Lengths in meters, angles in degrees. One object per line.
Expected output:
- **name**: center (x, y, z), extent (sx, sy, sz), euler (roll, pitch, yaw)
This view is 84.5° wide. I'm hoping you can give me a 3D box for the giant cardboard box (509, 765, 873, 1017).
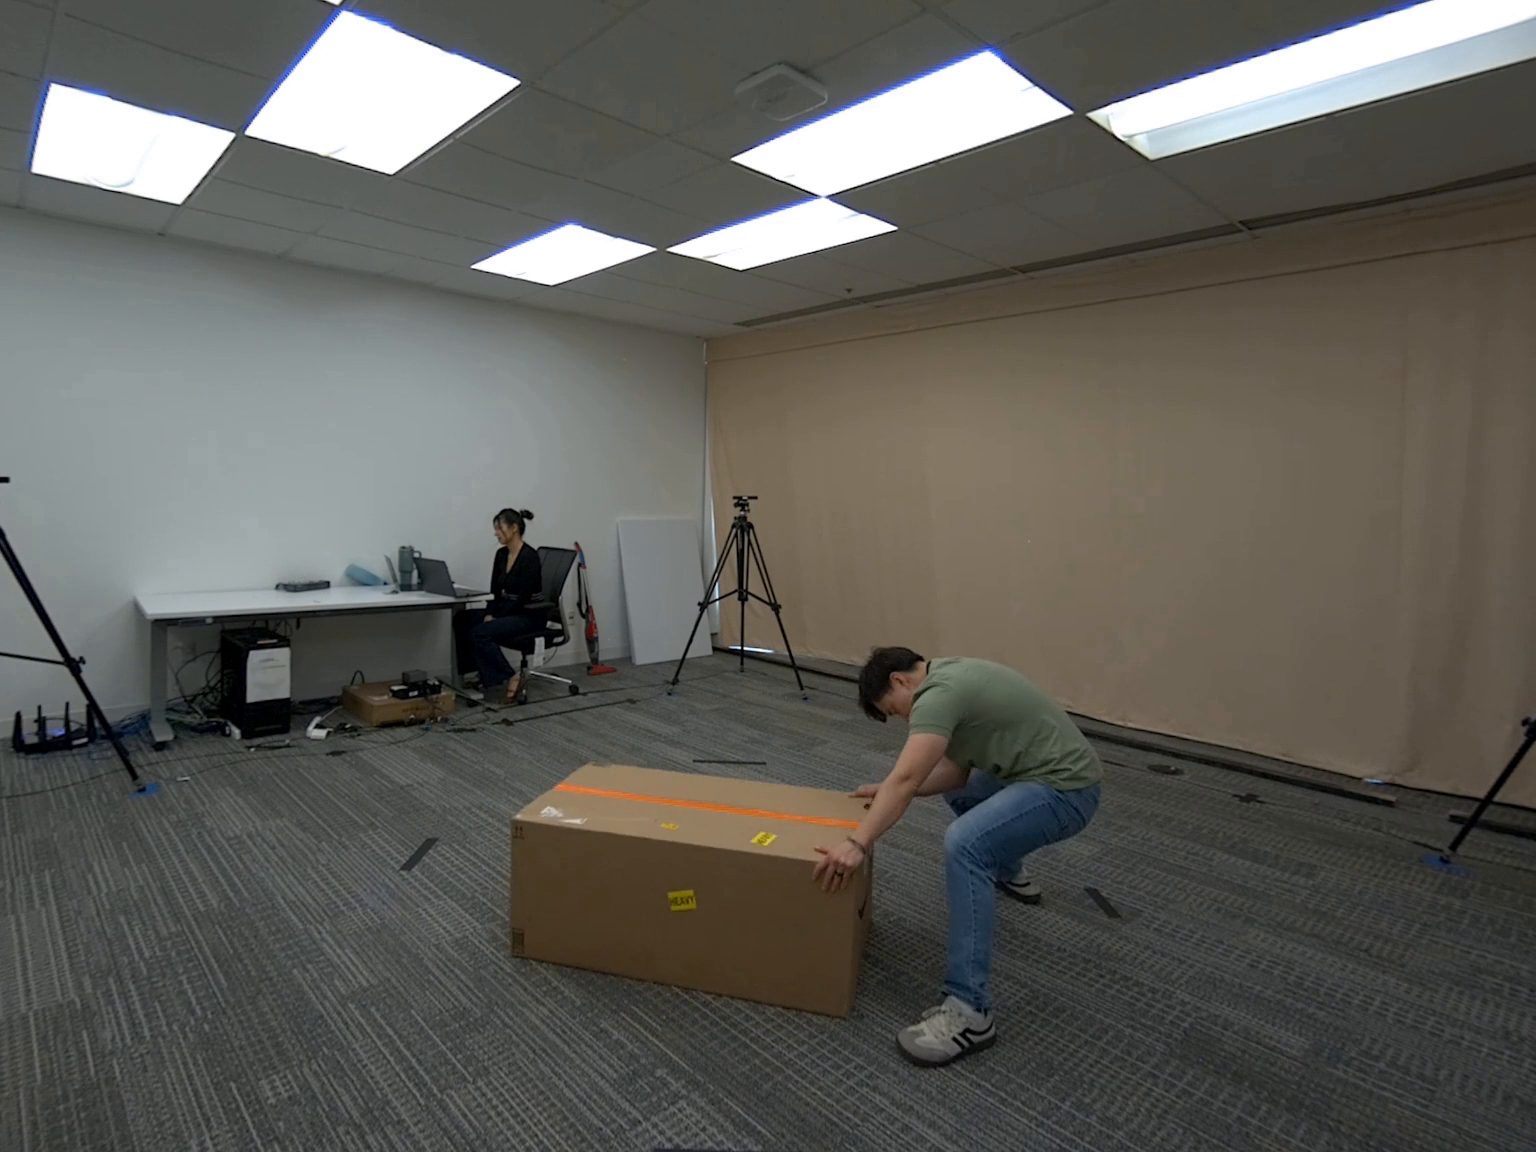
- **giant cardboard box**: center (-0.216, 0.924, 2.660), extent (1.038, 0.425, 0.572), euler (3, 5, 14)
